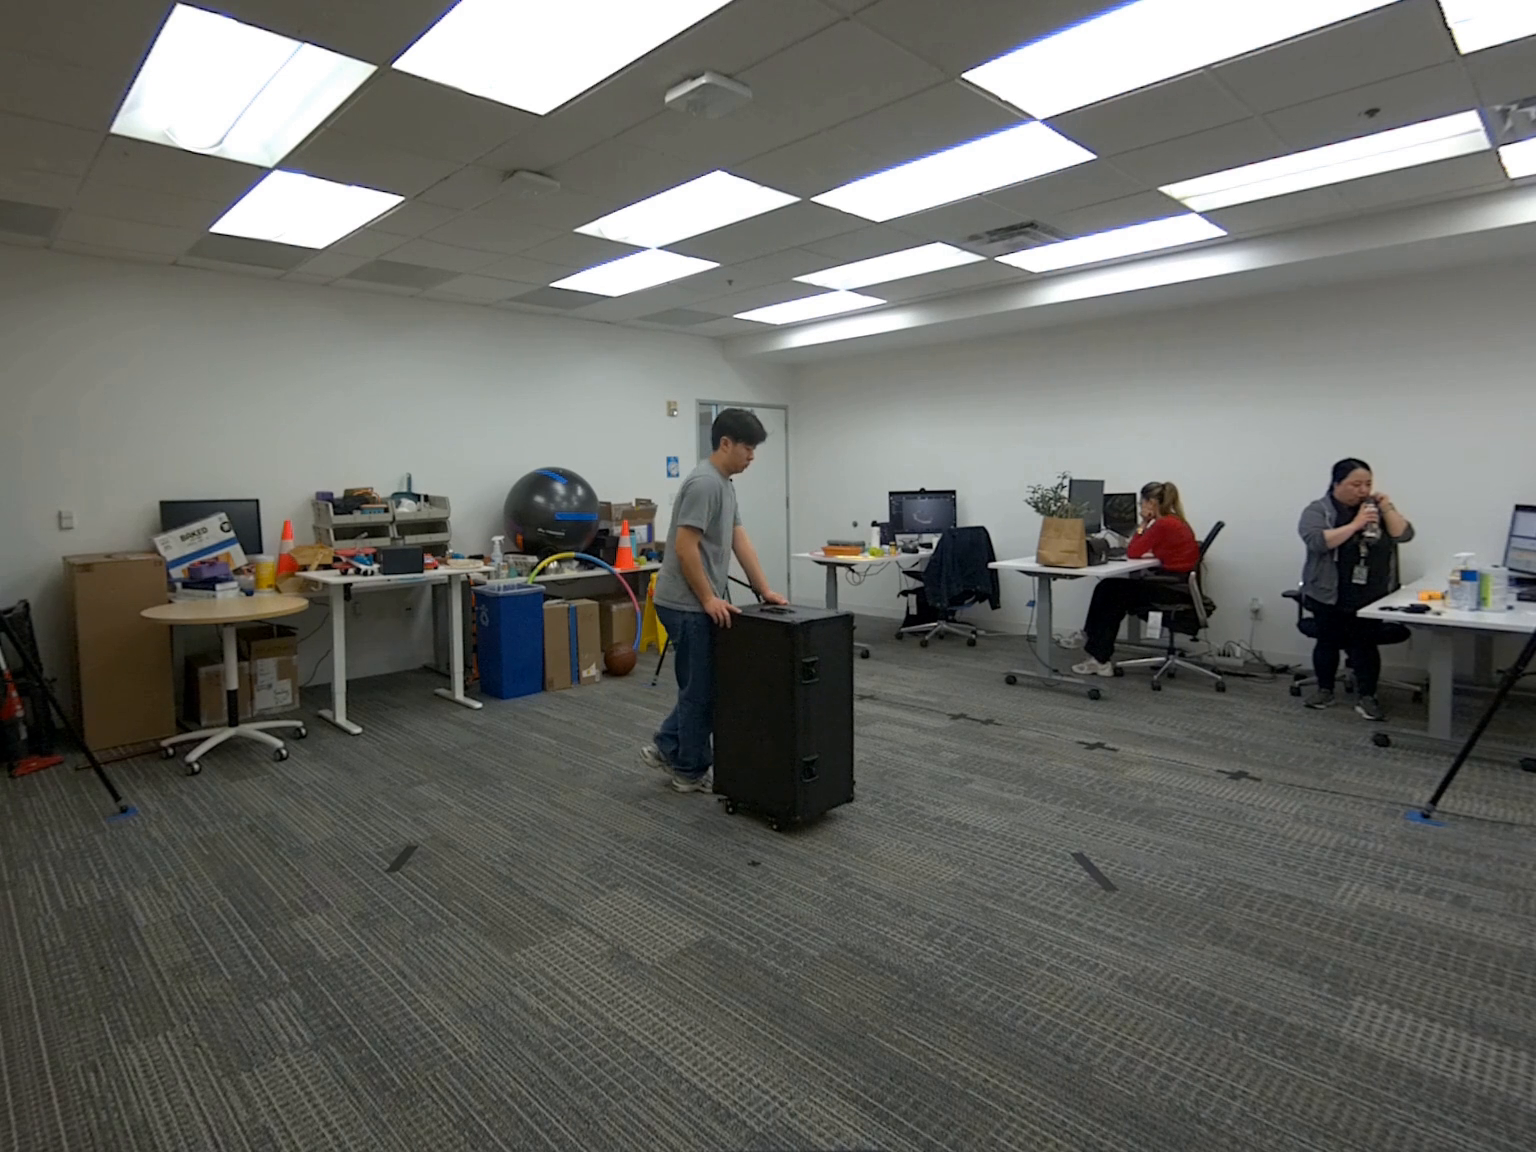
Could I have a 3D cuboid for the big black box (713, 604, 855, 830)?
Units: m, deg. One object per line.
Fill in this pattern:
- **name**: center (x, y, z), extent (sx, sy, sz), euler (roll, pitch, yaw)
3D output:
- **big black box**: center (0.066, 0.570, 3.552), extent (0.385, 0.859, 0.537), euler (-3, 4, -44)
